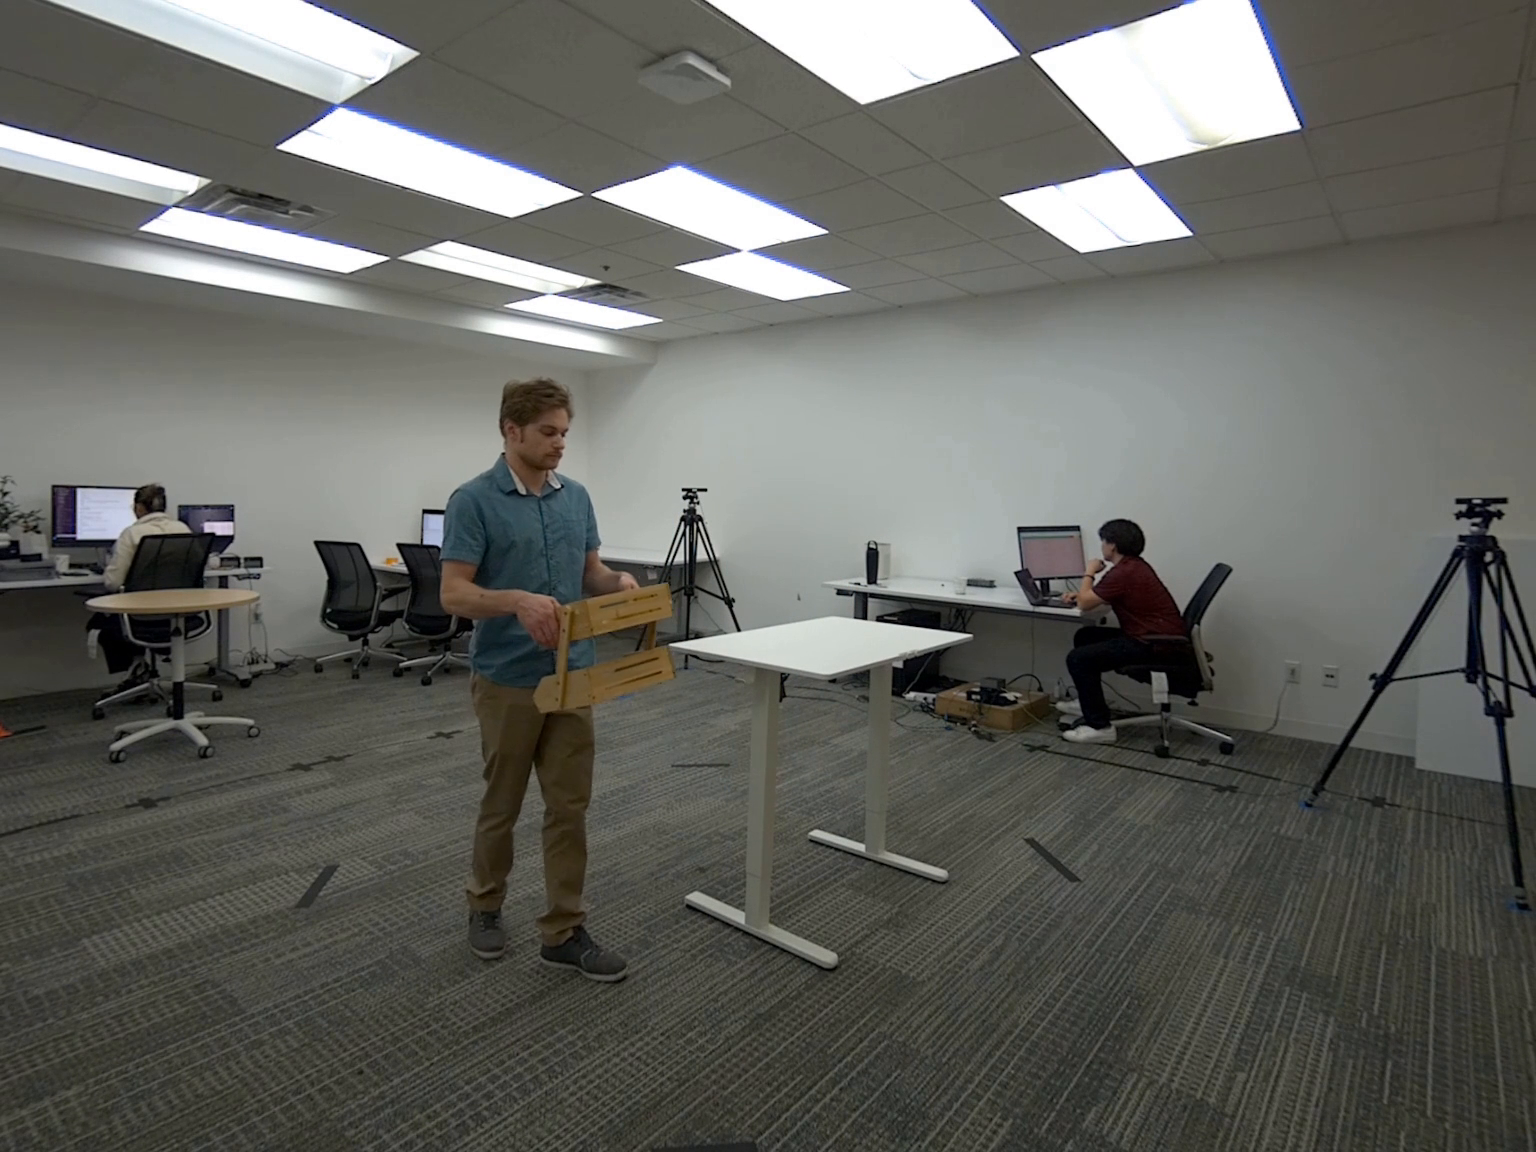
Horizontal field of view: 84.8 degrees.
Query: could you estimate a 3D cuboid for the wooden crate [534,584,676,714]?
[{"bbox_3d":[-0.457,0.188,2.305,0.309,0.274,0.316,-14,-2,40],"label":"wooden crate"}]
